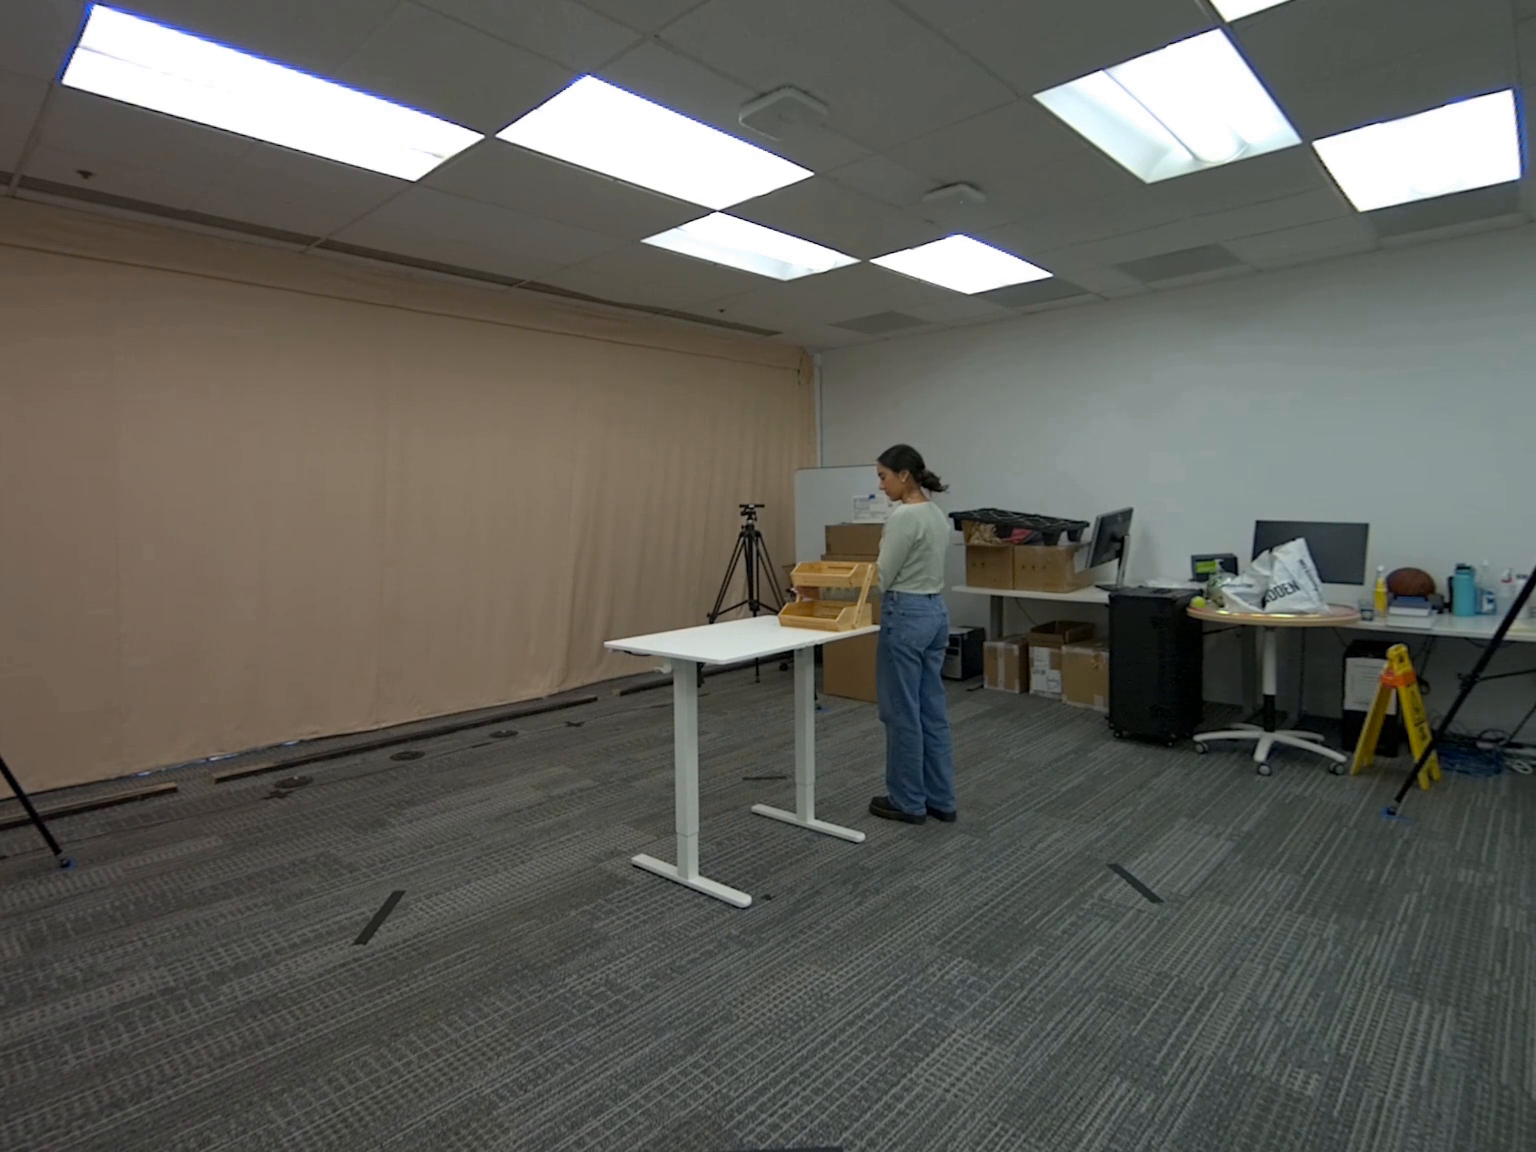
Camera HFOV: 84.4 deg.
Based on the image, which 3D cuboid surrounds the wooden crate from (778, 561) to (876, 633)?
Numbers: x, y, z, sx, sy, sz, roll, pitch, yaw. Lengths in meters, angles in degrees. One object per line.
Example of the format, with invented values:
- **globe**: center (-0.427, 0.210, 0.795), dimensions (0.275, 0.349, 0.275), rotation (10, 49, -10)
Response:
- **wooden crate**: center (0.252, 0.077, 3.527), dimensions (0.335, 0.273, 0.293), rotation (1, 3, 41)
